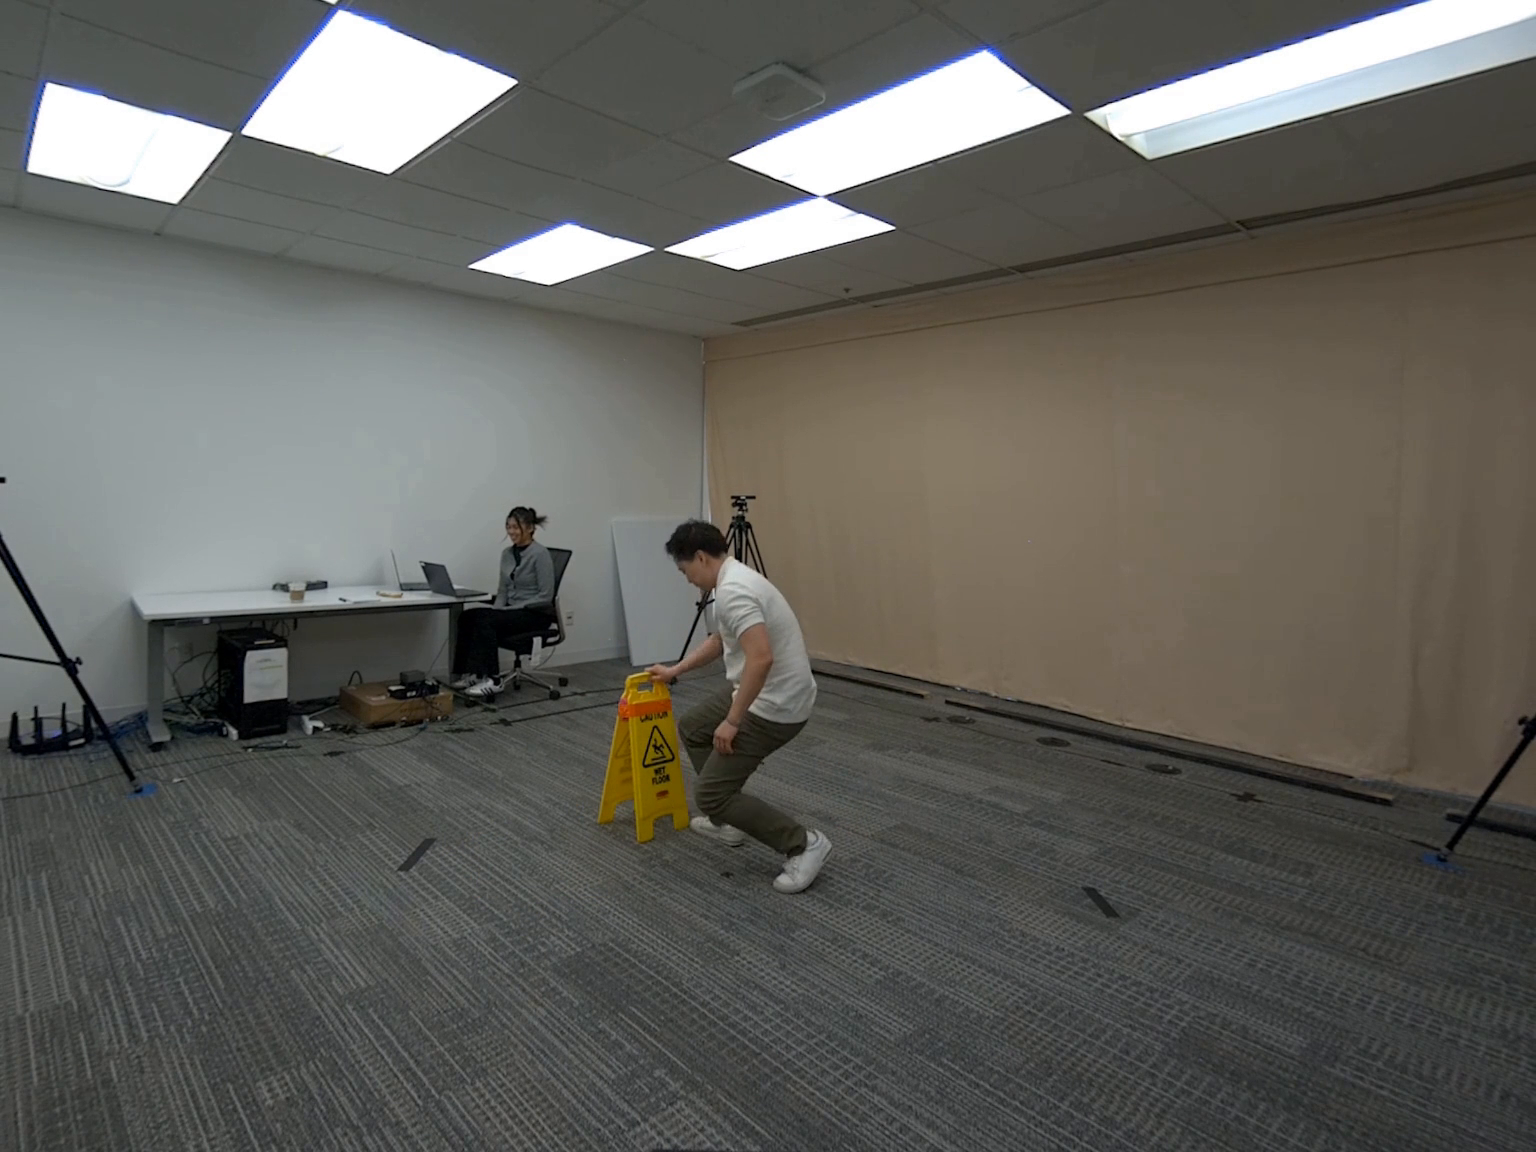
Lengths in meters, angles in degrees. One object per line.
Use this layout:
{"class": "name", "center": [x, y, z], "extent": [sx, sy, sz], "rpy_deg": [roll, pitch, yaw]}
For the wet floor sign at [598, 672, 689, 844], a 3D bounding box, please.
{"class": "wet floor sign", "center": [-0.533, 0.731, 3.550], "extent": [0.297, 0.645, 0.276], "rpy_deg": [2, 2, 43]}
